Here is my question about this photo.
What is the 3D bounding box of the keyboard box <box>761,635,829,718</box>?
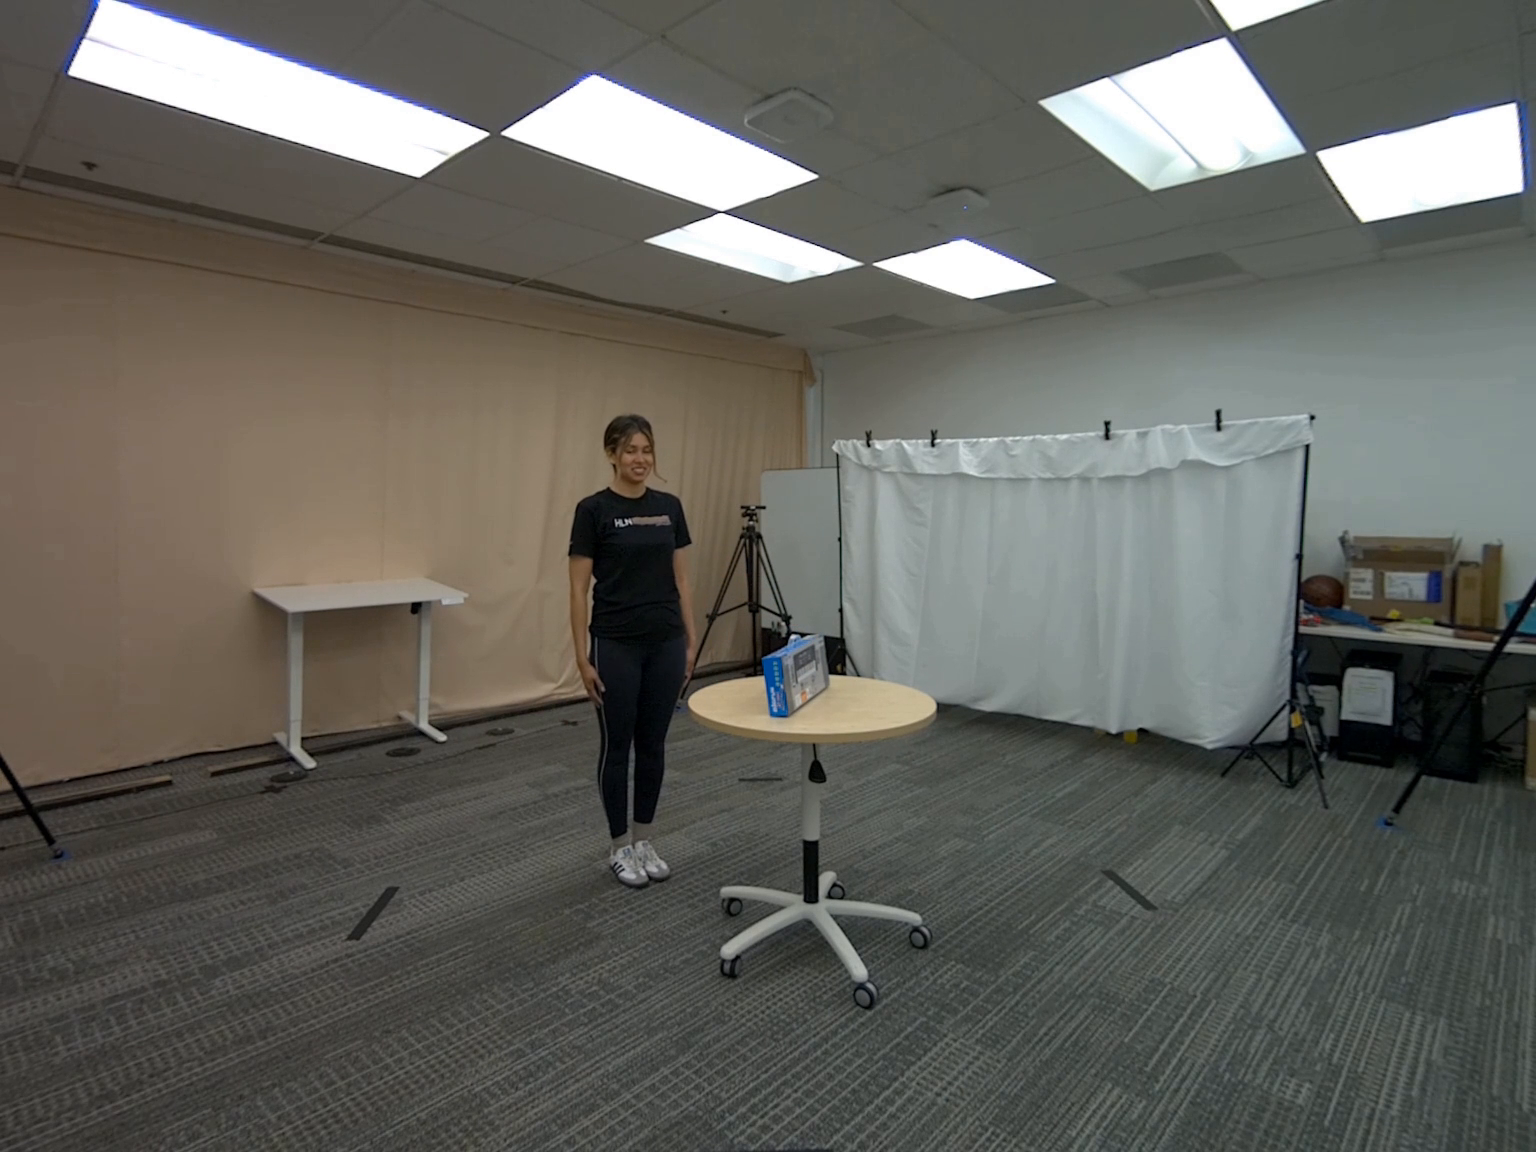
[{"bbox_3d":[0.097,0.301,2.622,0.060,0.176,0.428,-6,3,20],"label":"keyboard box"}]
